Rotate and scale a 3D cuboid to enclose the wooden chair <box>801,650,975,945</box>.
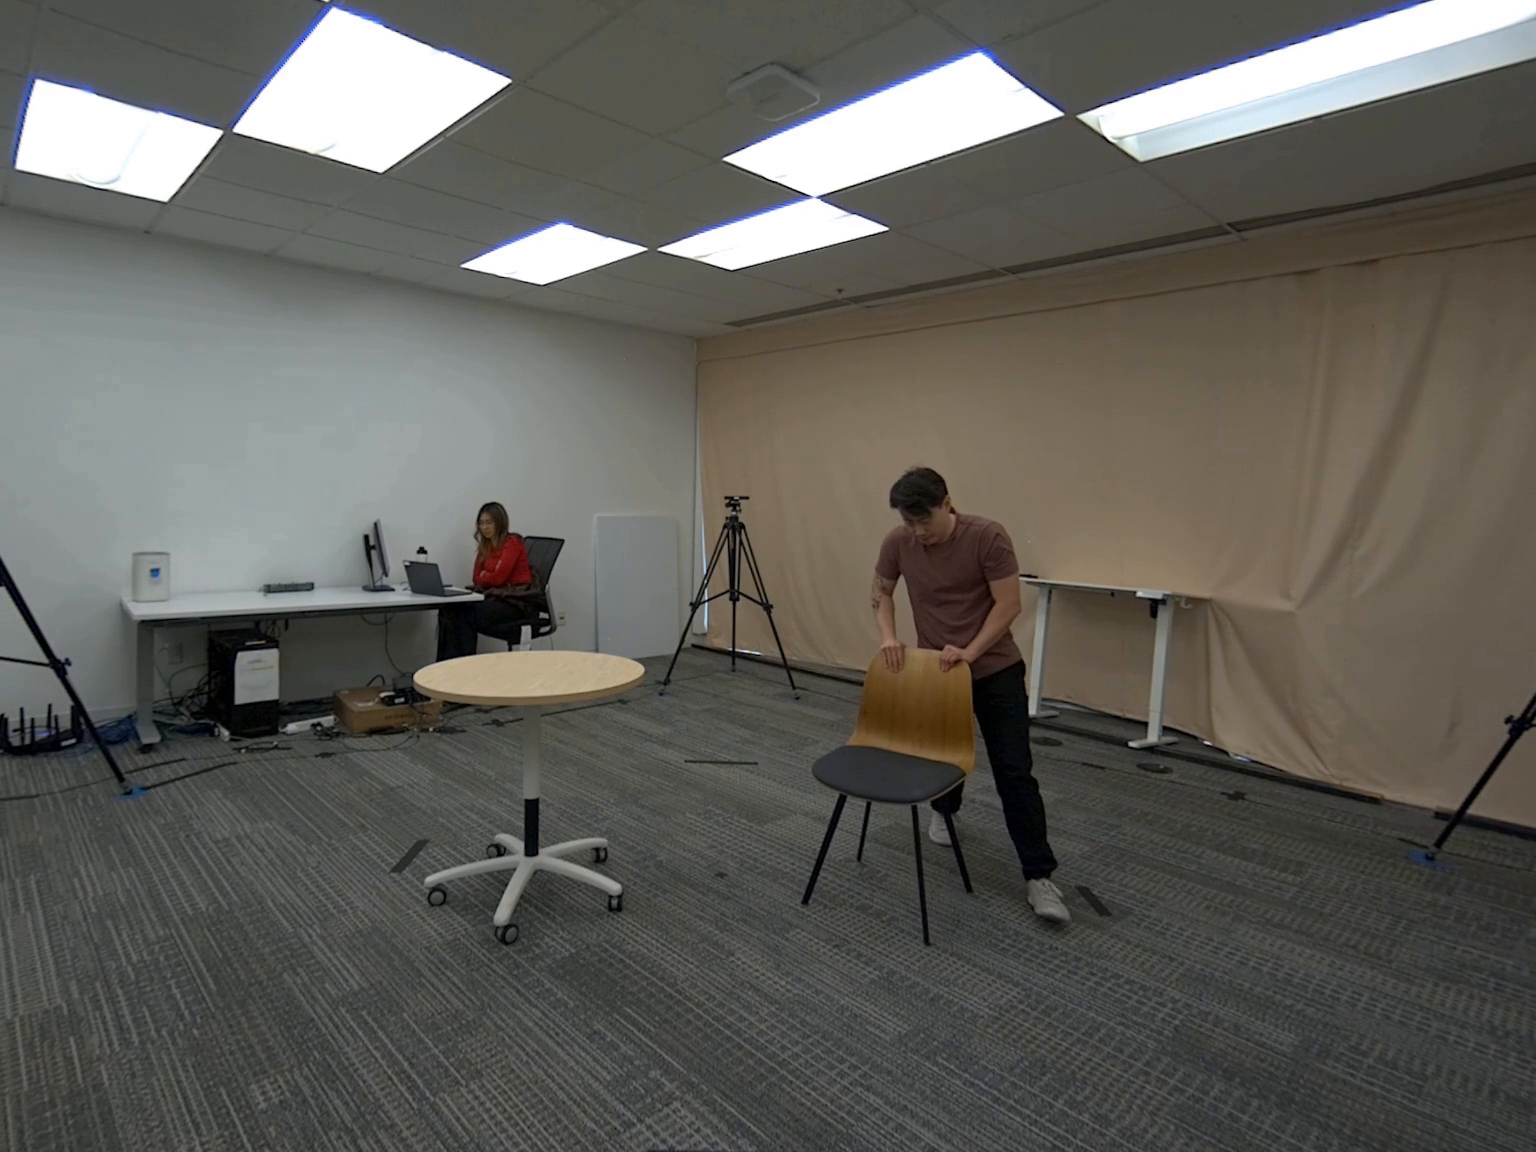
[{"bbox_3d":[0.420,0.708,2.911,0.489,0.877,0.511,3,0,33],"label":"wooden chair"}]
